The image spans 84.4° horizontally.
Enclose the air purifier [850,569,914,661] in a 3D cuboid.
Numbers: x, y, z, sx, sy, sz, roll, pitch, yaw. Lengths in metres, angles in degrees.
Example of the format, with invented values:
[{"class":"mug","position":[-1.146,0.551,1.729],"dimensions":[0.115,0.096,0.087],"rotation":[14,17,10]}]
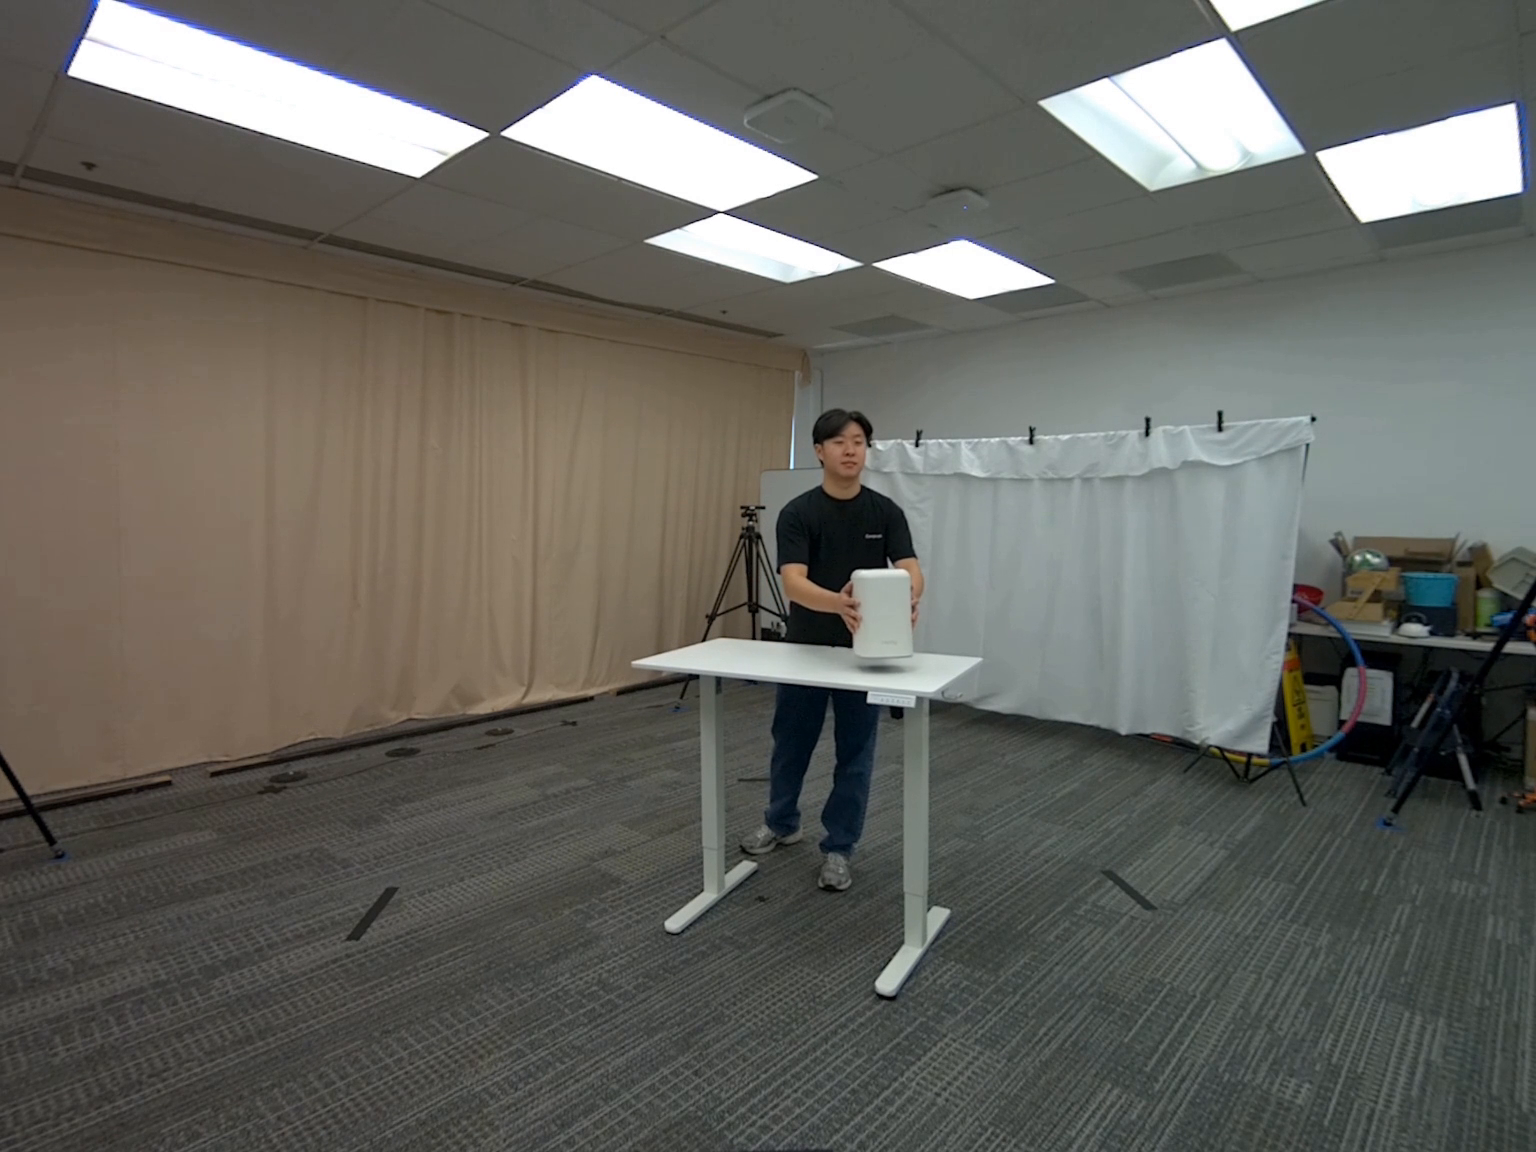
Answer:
[{"class":"air purifier","position":[0.345,0.113,2.597],"dimensions":[0.170,0.265,0.173],"rotation":[-4,1,-6]}]
